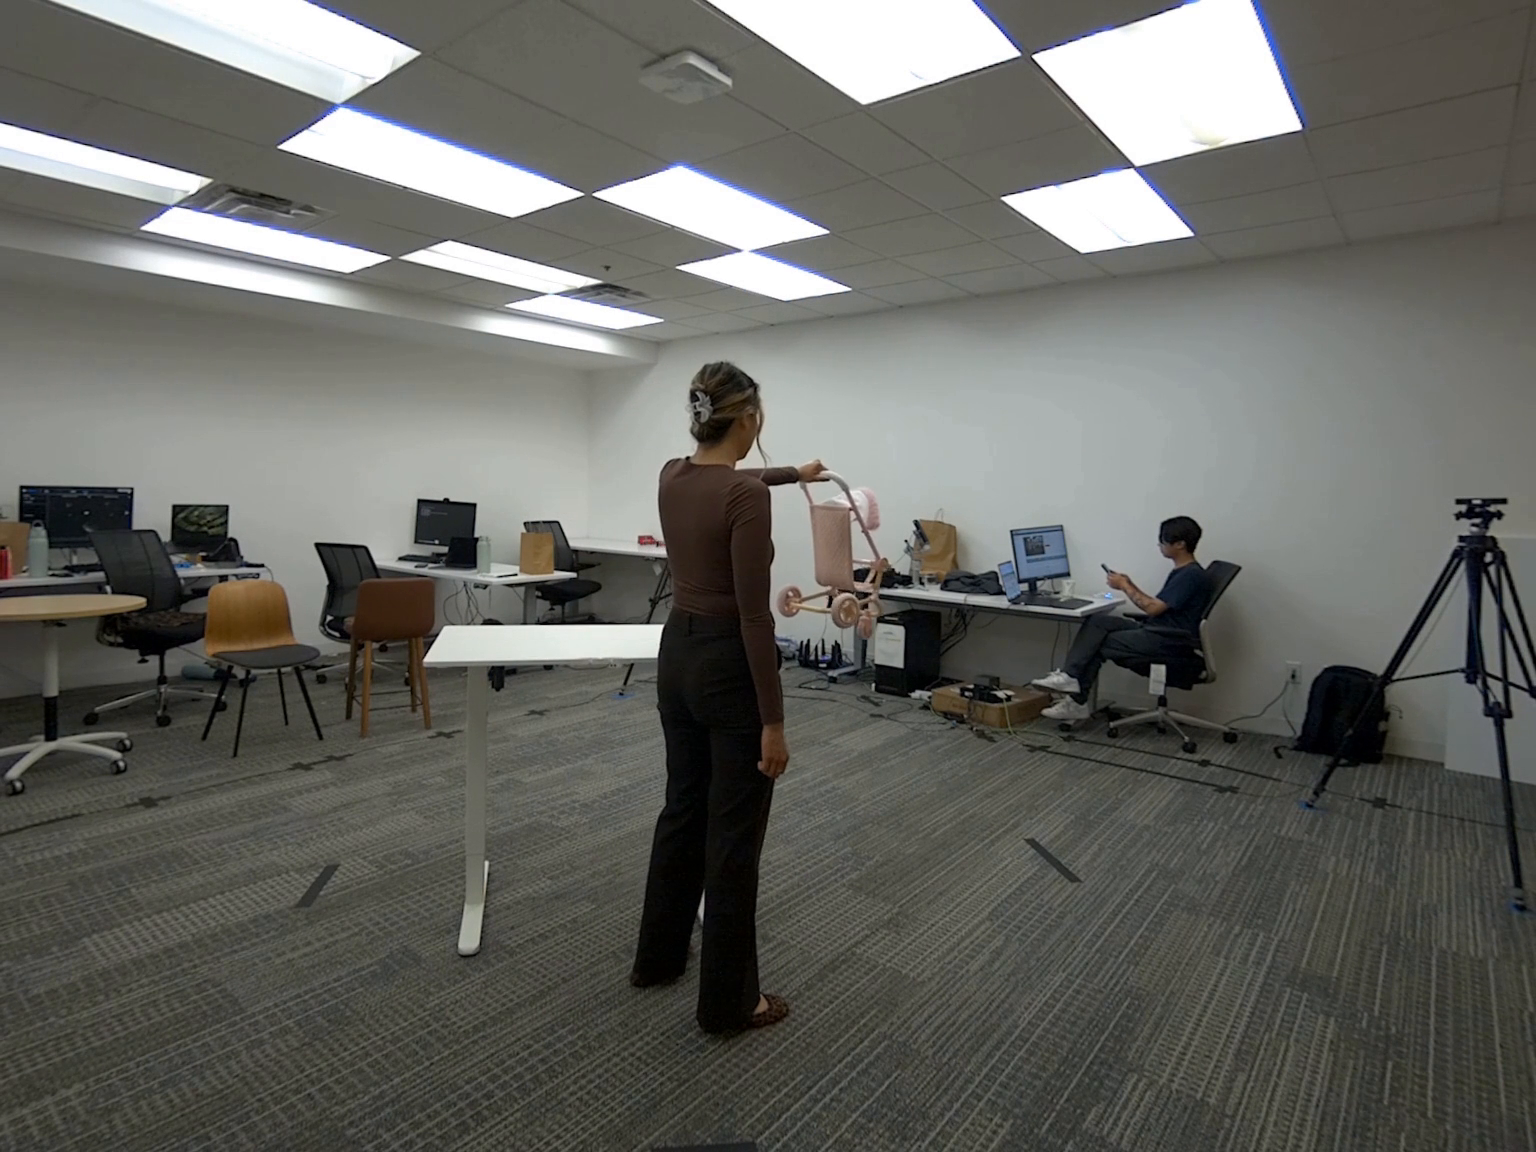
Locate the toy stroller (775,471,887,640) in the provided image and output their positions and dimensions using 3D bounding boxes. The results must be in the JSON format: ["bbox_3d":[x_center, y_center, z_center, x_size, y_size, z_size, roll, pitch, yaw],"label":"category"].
[{"bbox_3d":[0.241,-0.055,2.774,0.330,0.535,0.290,5,0,-36],"label":"toy stroller"}]
